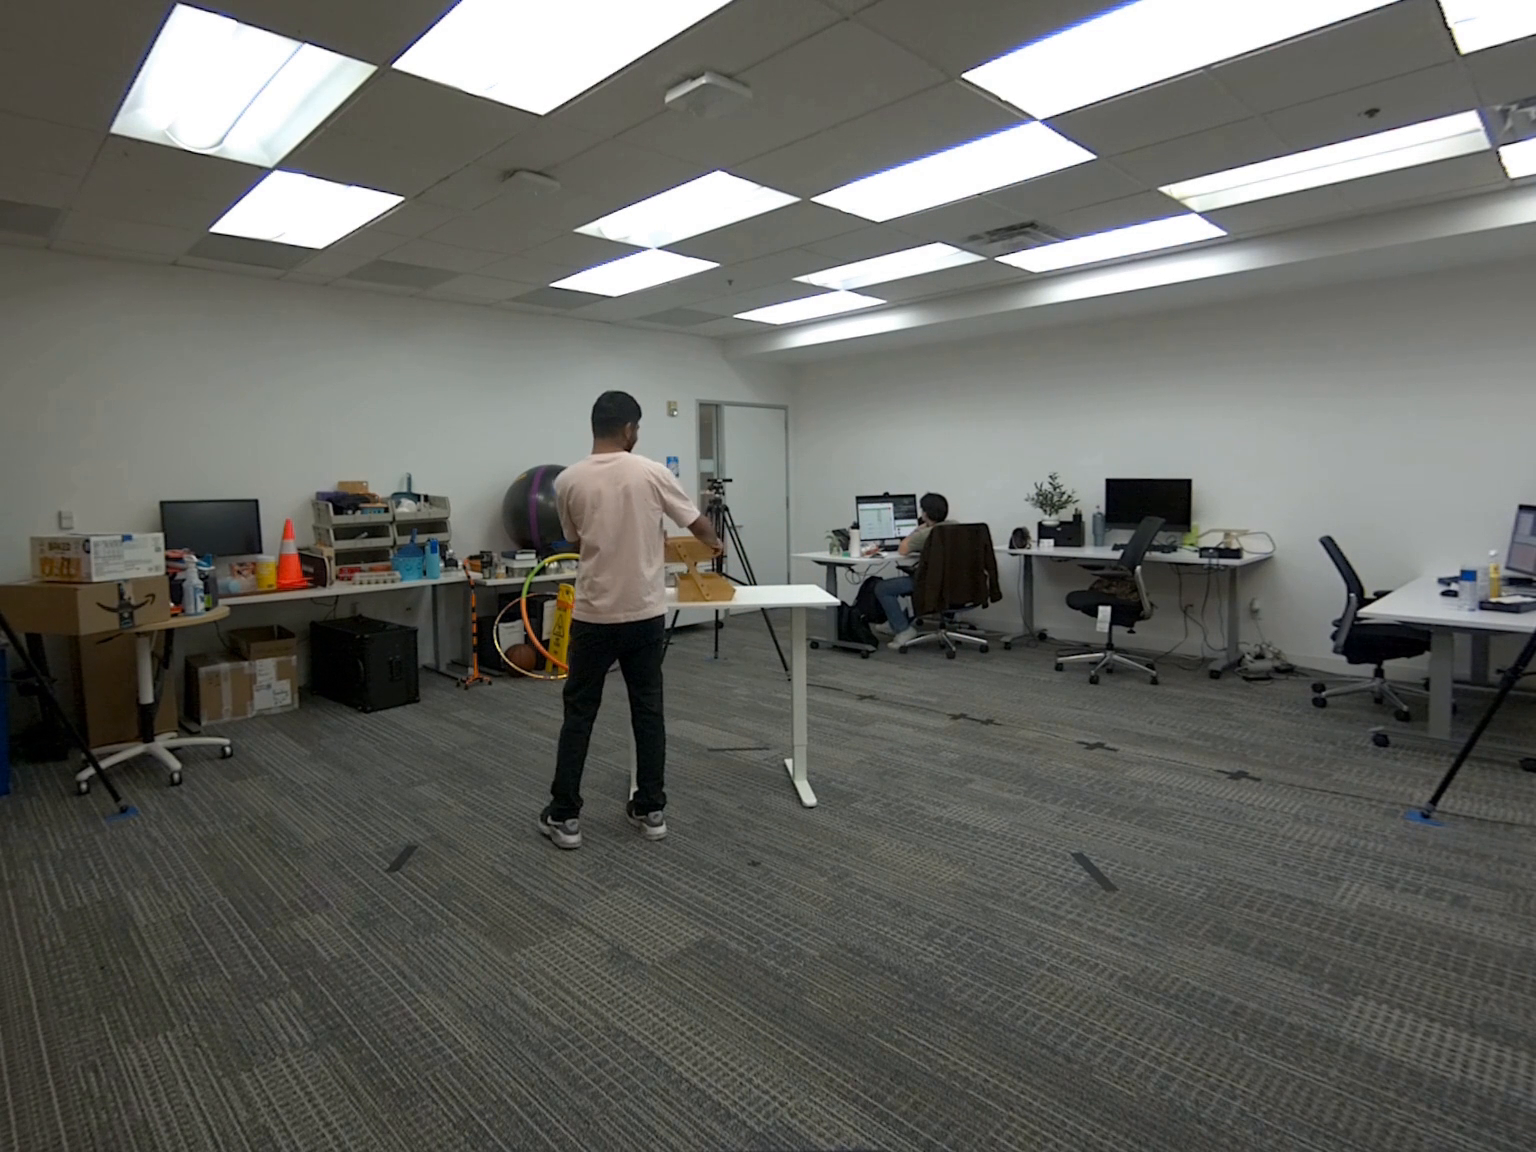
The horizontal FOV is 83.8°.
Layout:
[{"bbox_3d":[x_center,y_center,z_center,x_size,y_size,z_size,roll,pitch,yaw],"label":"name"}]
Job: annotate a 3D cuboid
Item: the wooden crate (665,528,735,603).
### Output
[{"bbox_3d":[-0.303,-0.040,3.783,0.300,0.272,0.328,-5,5,-8],"label":"wooden crate"}]
